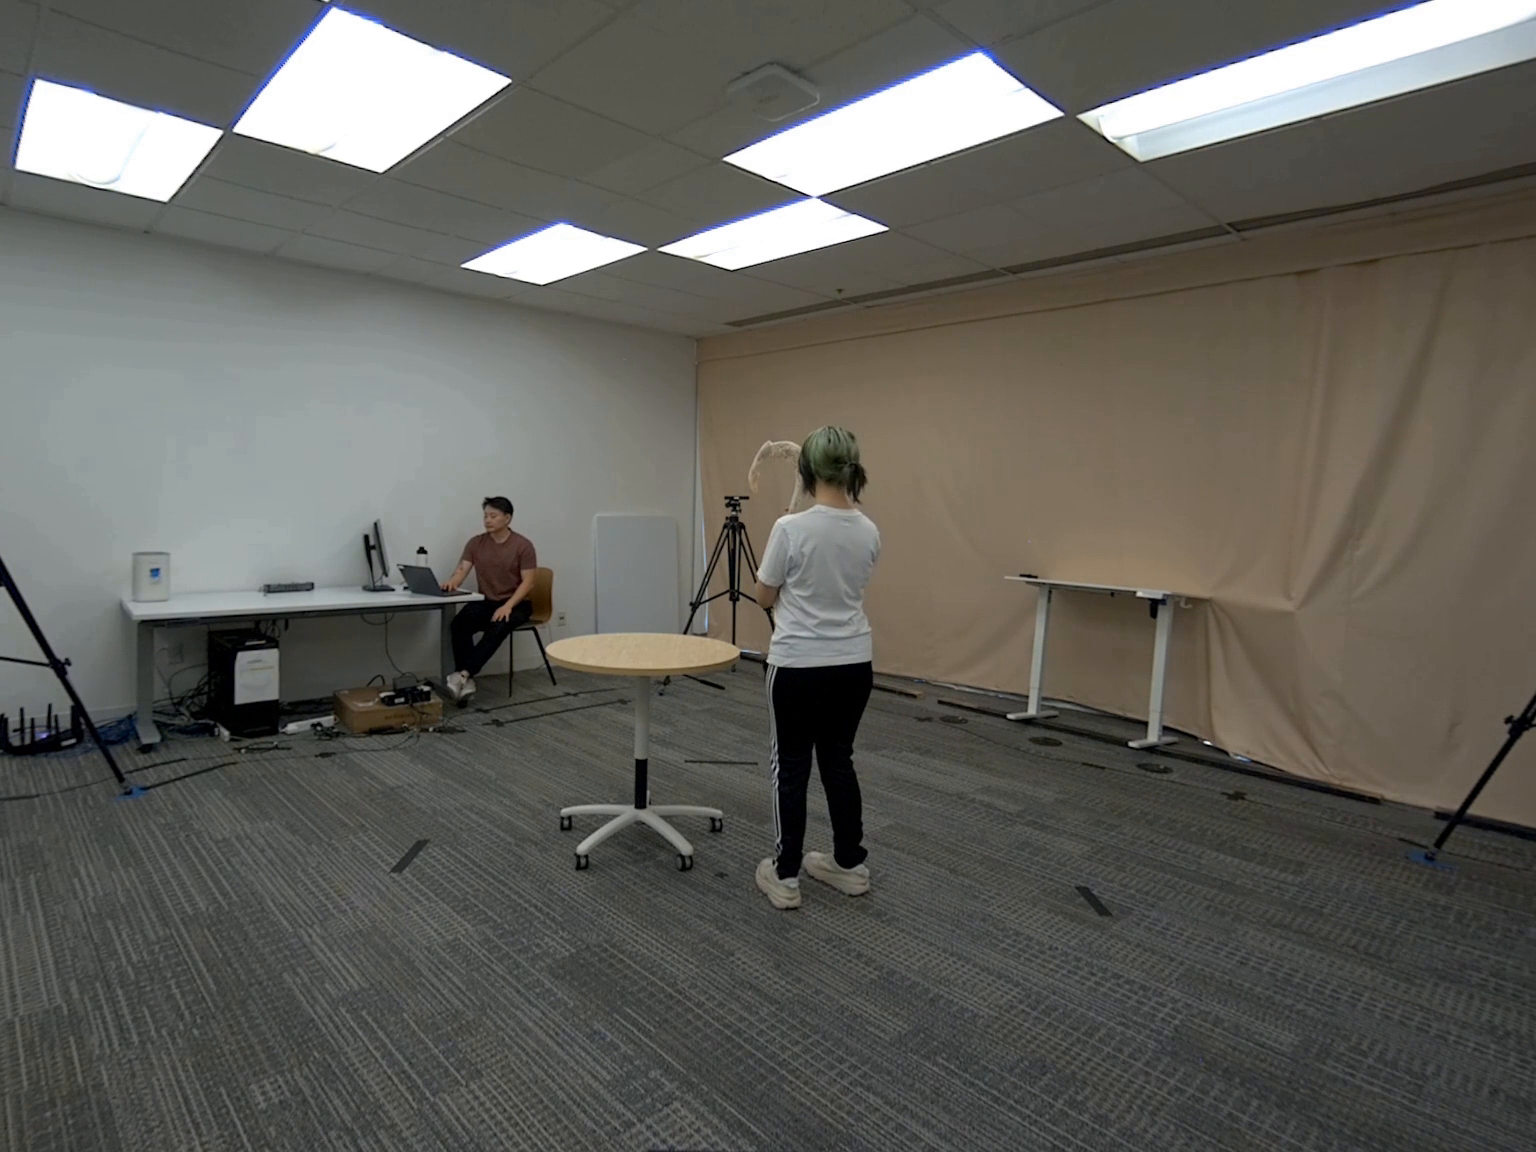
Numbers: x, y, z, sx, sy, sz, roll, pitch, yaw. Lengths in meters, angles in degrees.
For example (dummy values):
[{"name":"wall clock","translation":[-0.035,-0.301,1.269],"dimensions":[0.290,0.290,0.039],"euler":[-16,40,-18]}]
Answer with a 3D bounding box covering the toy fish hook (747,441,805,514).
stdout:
[{"name":"toy fish hook","translation":[0.038,-0.254,3.139],"dimensions":[0.225,0.508,0.048],"euler":[-1,-3,6]}]
